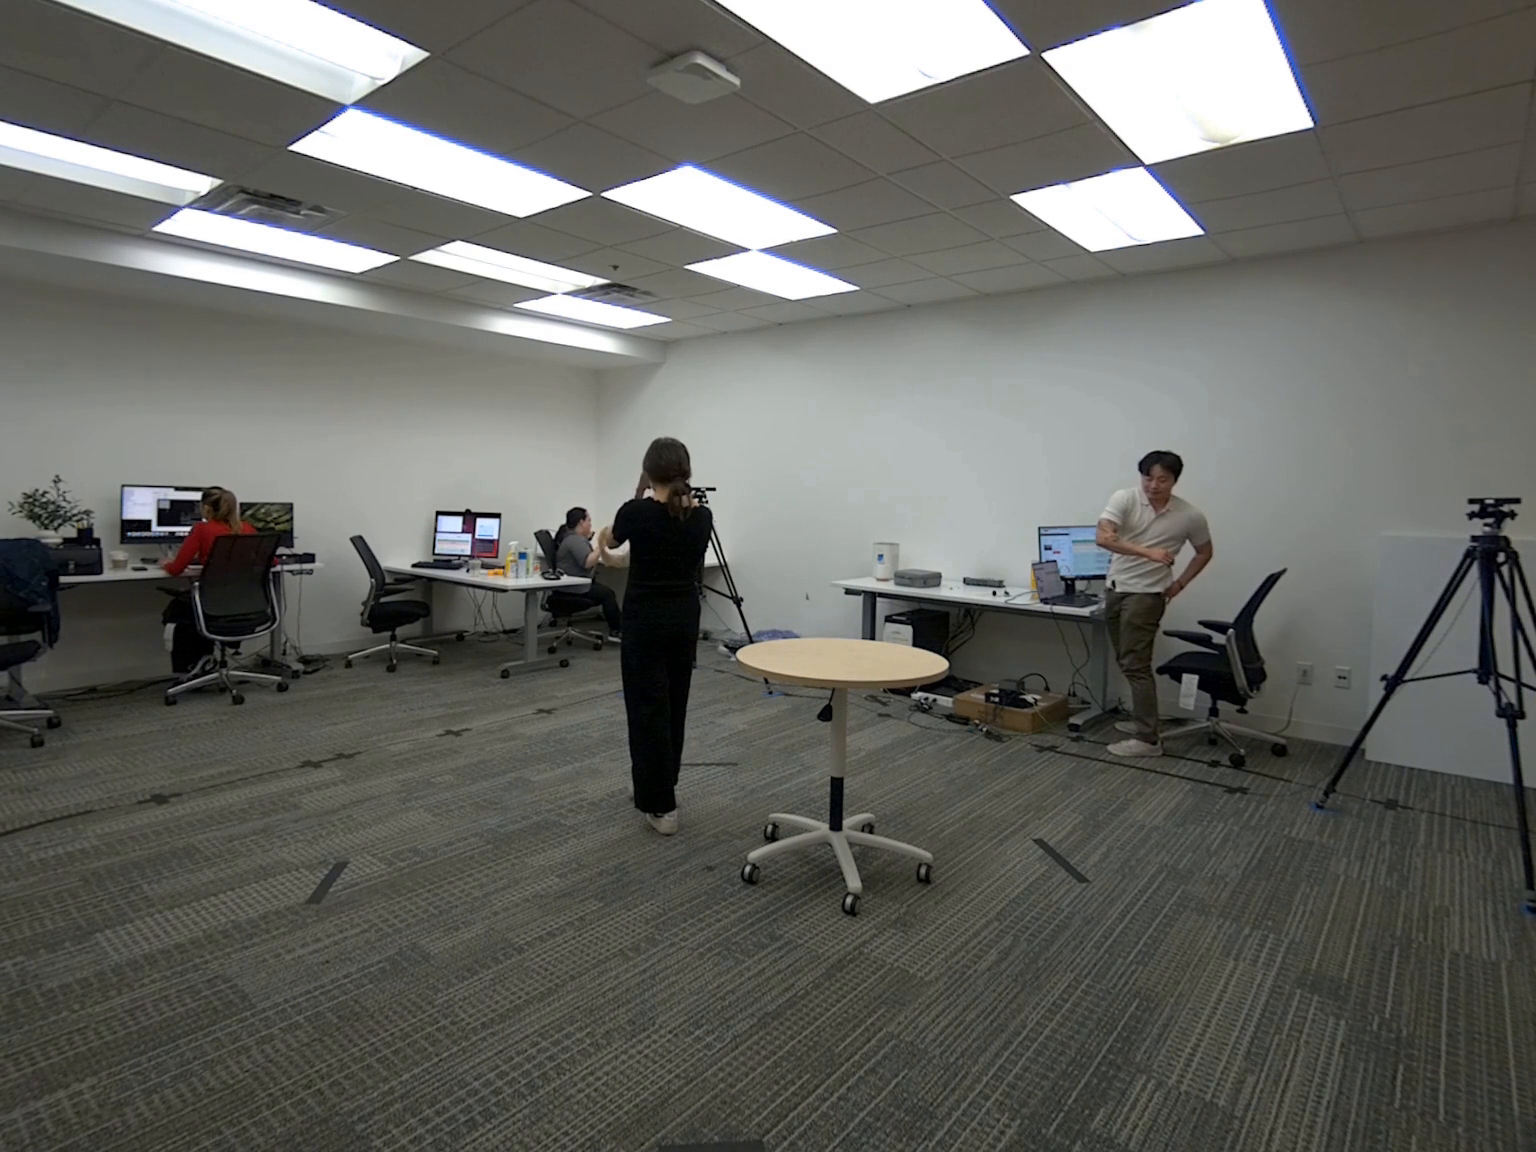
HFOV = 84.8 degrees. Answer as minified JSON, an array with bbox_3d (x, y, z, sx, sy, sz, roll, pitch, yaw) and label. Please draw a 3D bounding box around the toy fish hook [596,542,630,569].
[{"bbox_3d":[-0.650,-0.280,3.846,0.217,0.502,0.050,2,16,-40],"label":"toy fish hook"}]
